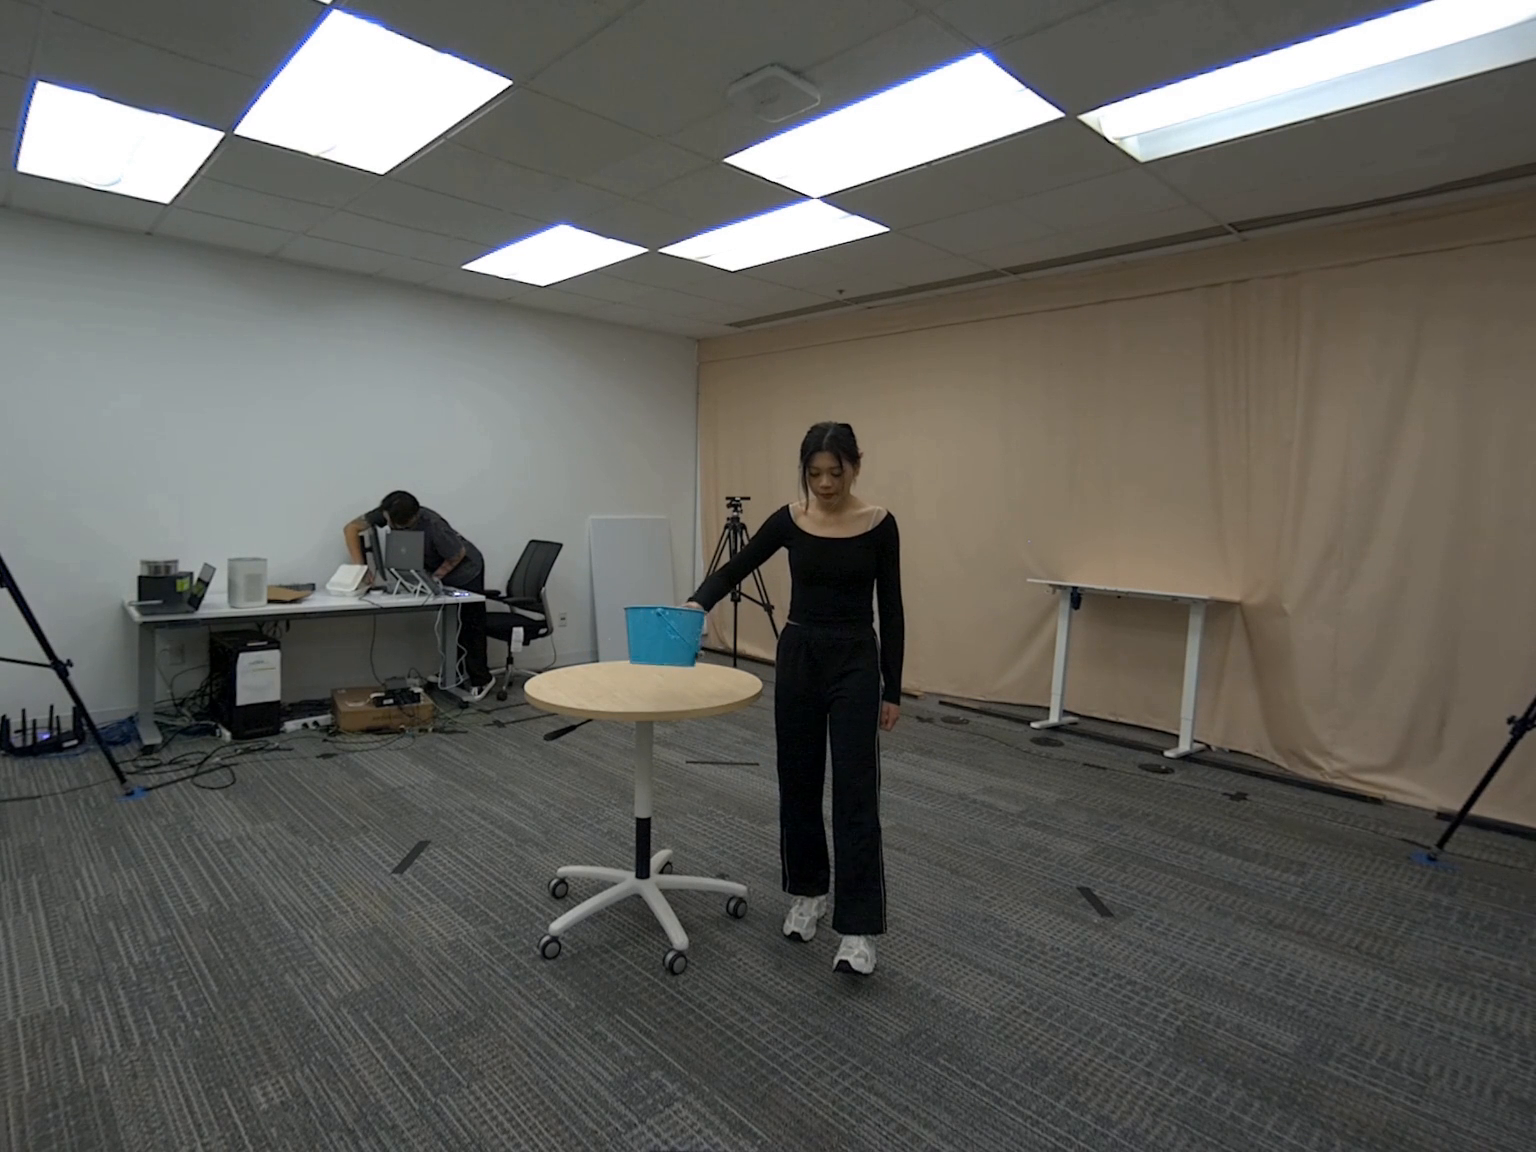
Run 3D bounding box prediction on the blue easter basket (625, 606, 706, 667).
[{"bbox_3d":[-0.287,0.181,2.316,0.243,0.156,0.242,2,-6,-1],"label":"blue easter basket"}]
